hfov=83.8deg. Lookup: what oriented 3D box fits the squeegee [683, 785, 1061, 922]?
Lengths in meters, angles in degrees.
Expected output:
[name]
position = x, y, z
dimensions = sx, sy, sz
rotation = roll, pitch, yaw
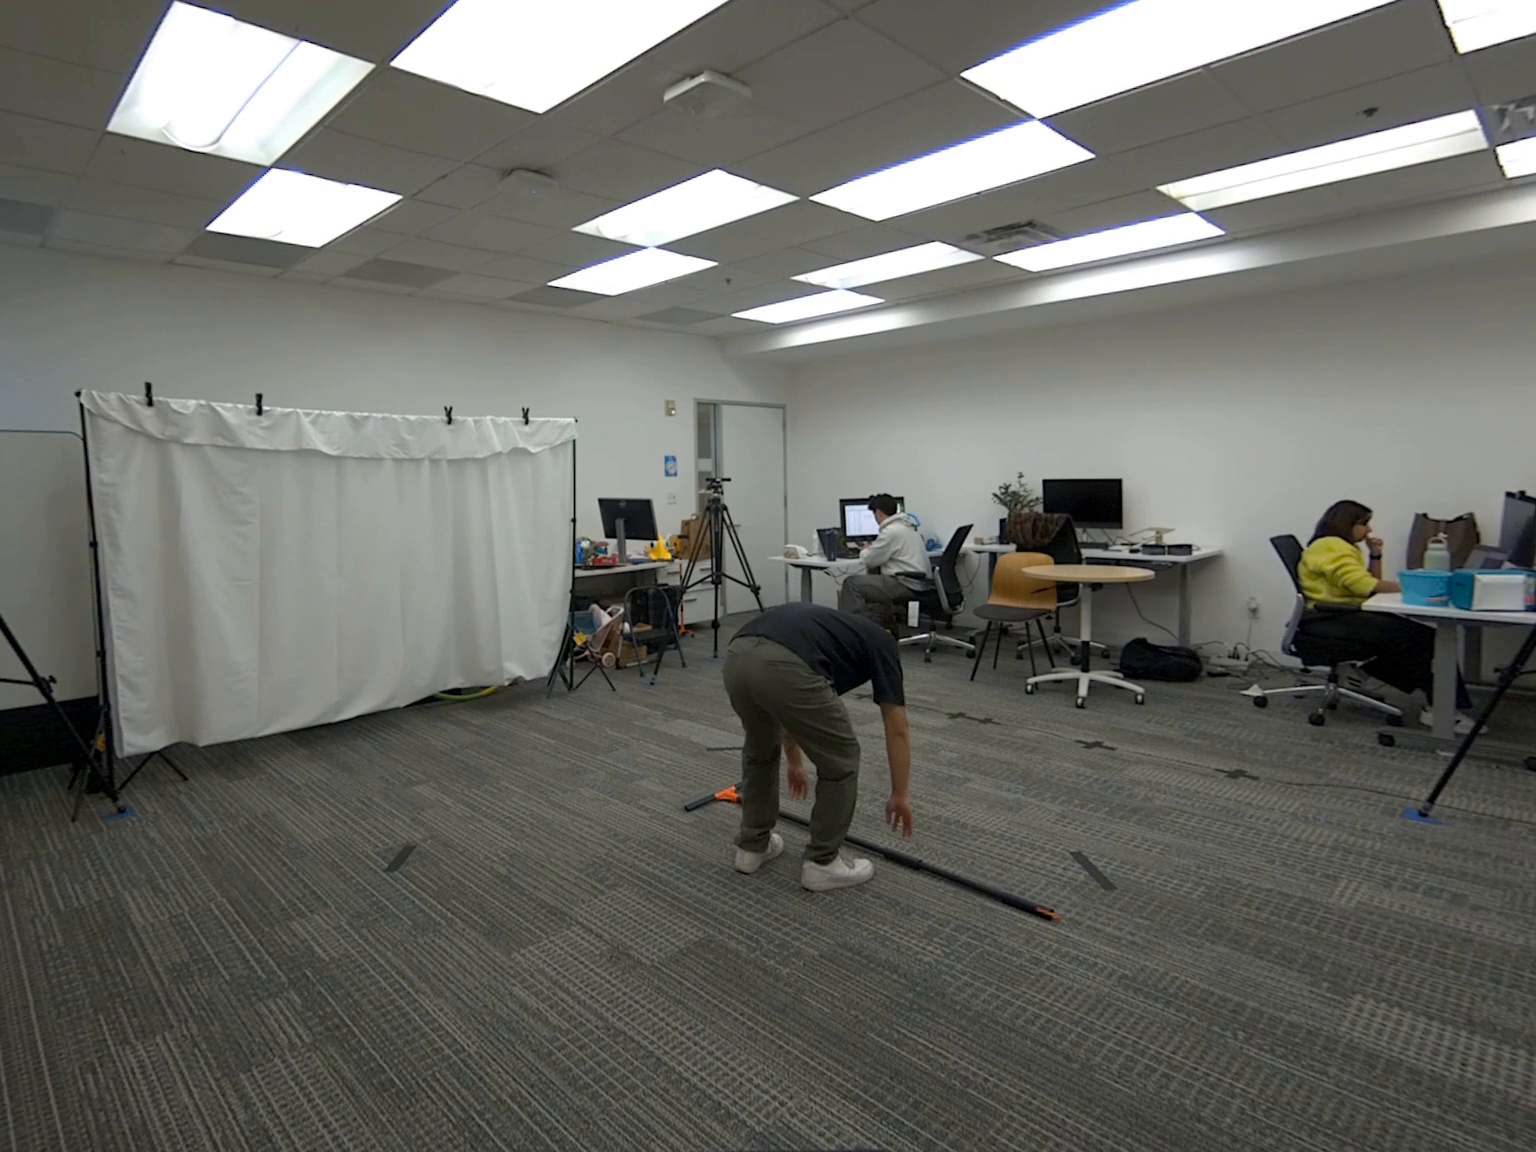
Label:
[squeegee]
position = 0.338, 0.985, 3.207
dimensions = 1.586, 0.052, 0.426
rotation = 6, 11, 45
